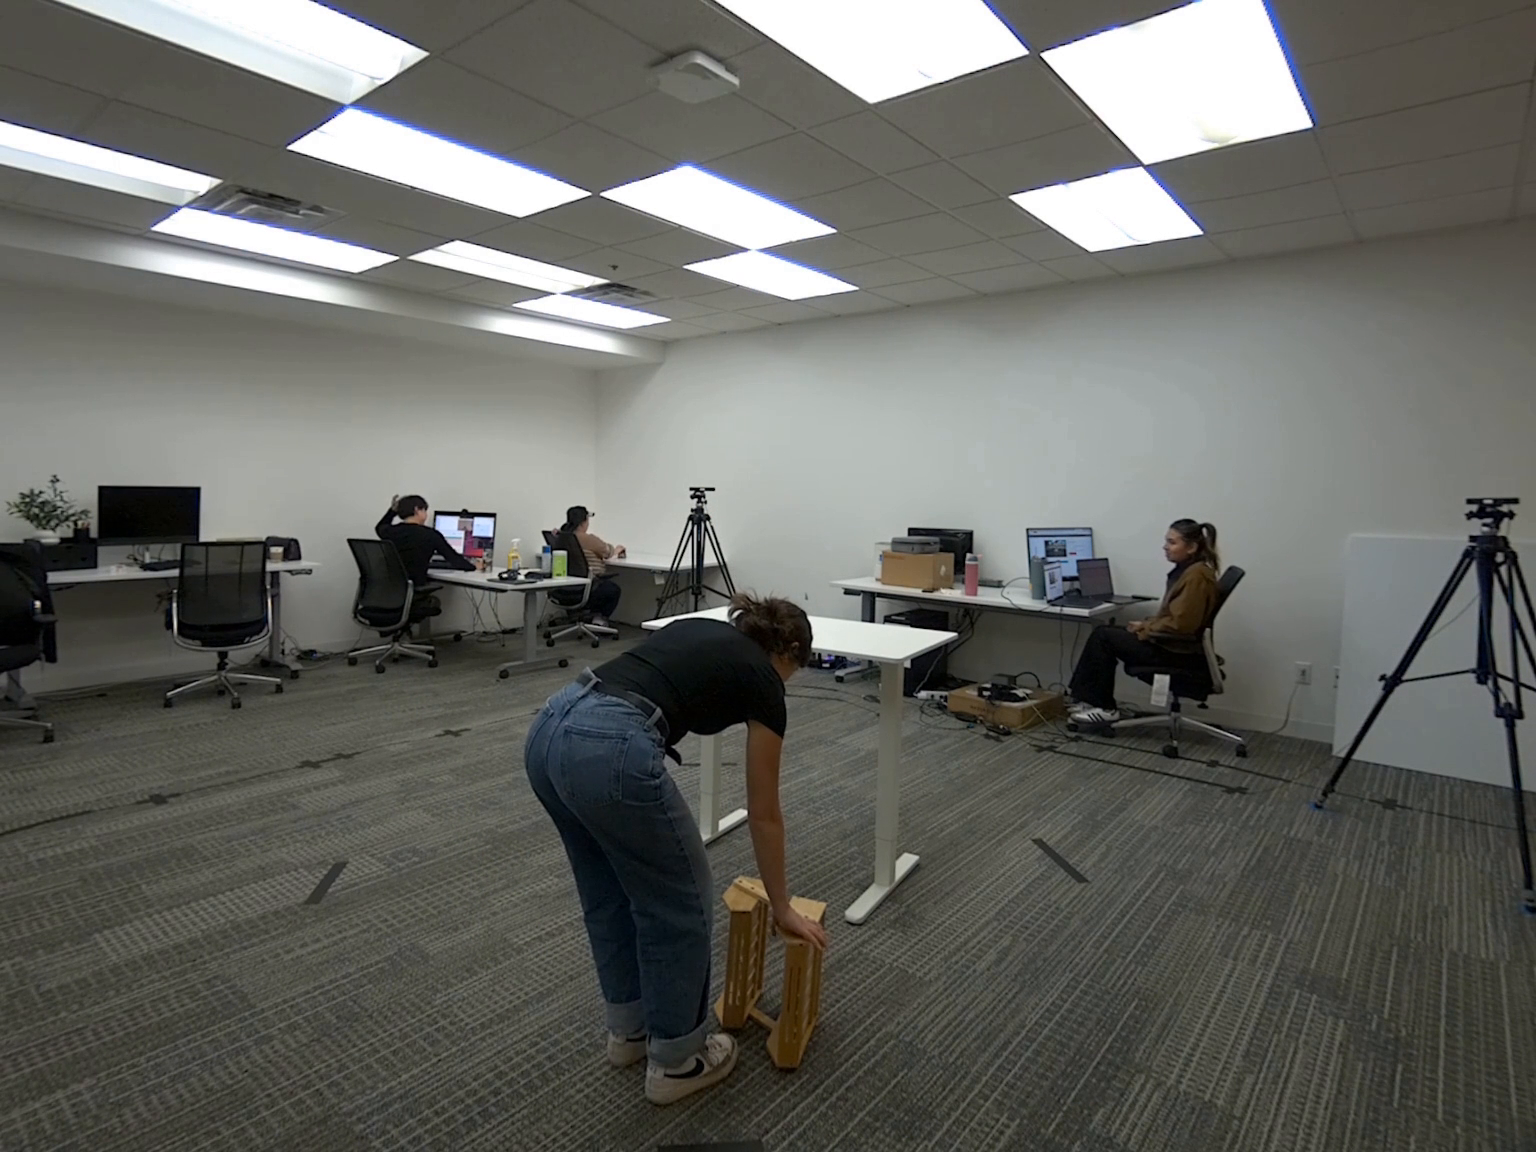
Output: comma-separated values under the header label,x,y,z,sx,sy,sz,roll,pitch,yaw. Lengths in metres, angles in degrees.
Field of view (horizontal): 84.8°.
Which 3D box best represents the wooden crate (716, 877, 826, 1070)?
label,x,y,z,sx,sy,sz,roll,pitch,yaw
wooden crate,-0.013,1.000,2.185,0.278,0.324,0.296,4,1,16
